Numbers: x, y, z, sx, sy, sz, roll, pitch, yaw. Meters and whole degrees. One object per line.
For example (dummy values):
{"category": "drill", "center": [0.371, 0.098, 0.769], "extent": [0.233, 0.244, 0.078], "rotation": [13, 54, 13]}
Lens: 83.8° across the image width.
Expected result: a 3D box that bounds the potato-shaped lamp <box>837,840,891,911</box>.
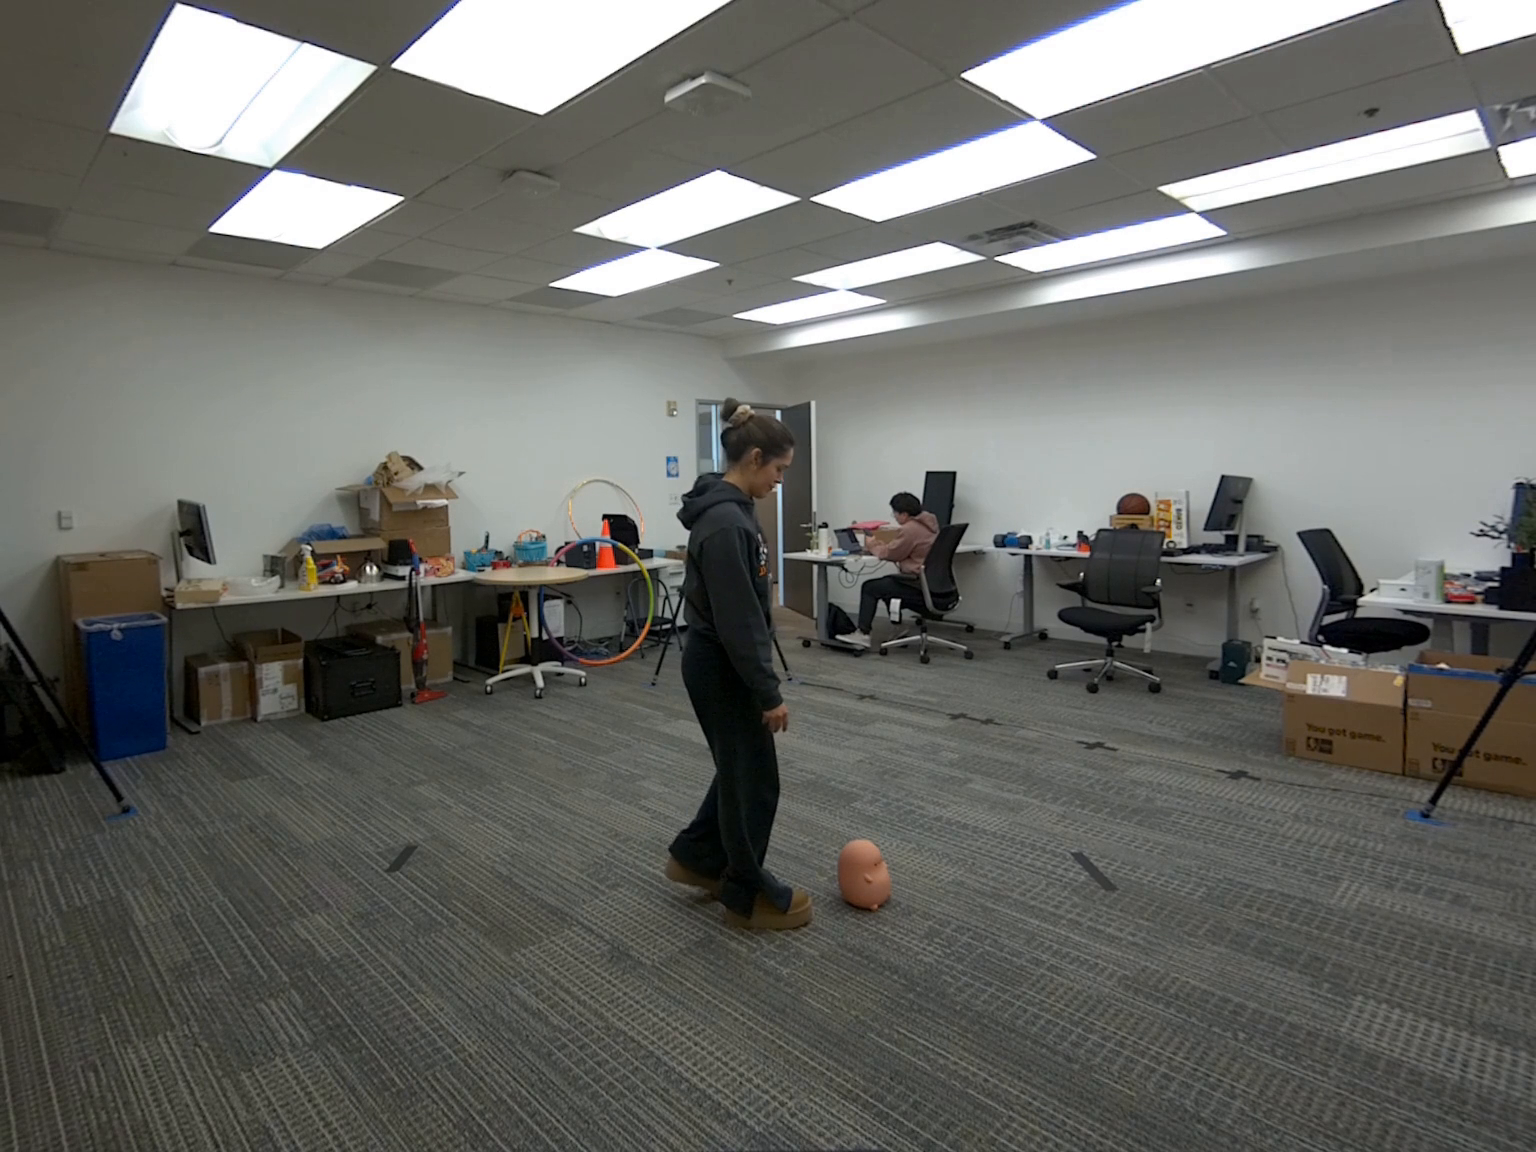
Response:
{"category": "potato-shaped lamp", "center": [0.312, 0.966, 2.794], "extent": [0.176, 0.197, 0.160], "rotation": [1, 4, 38]}
